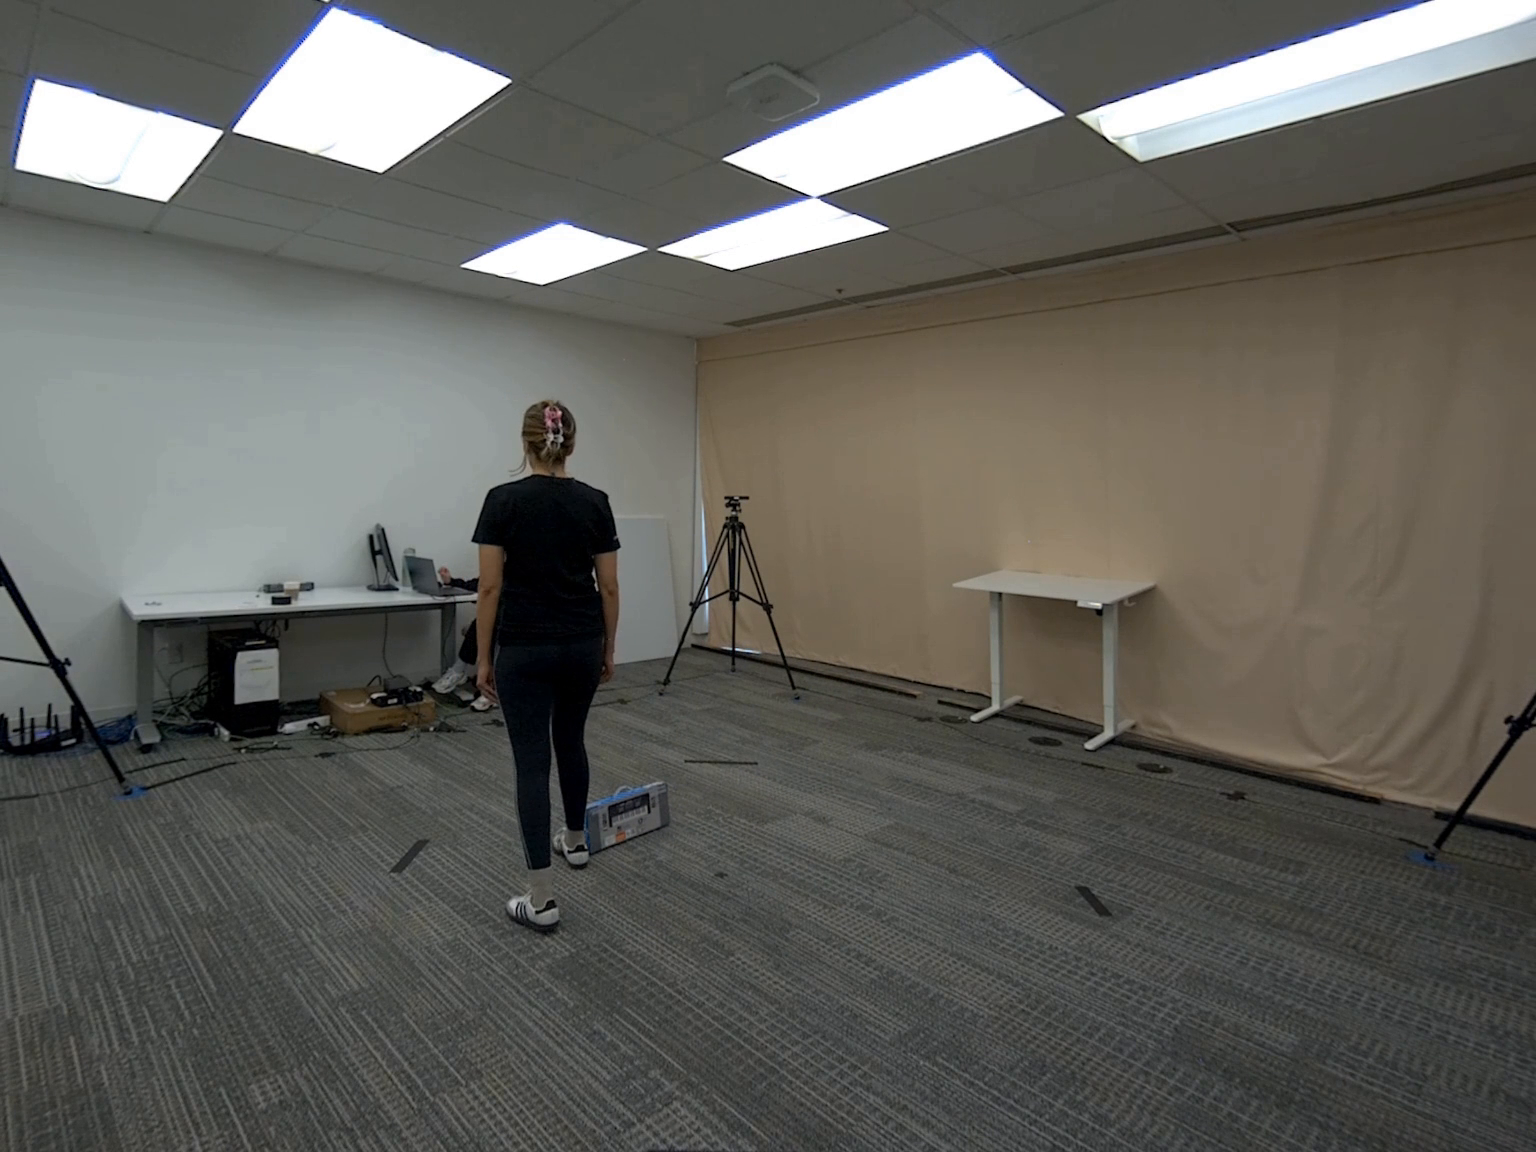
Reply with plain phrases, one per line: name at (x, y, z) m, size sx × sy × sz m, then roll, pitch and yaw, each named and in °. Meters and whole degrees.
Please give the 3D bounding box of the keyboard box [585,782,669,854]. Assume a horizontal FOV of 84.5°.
keyboard box at (-0.585, 0.979, 3.425) m, size 0.060 × 0.176 × 0.427 m, roll -6°, pitch -1°, yaw 39°
